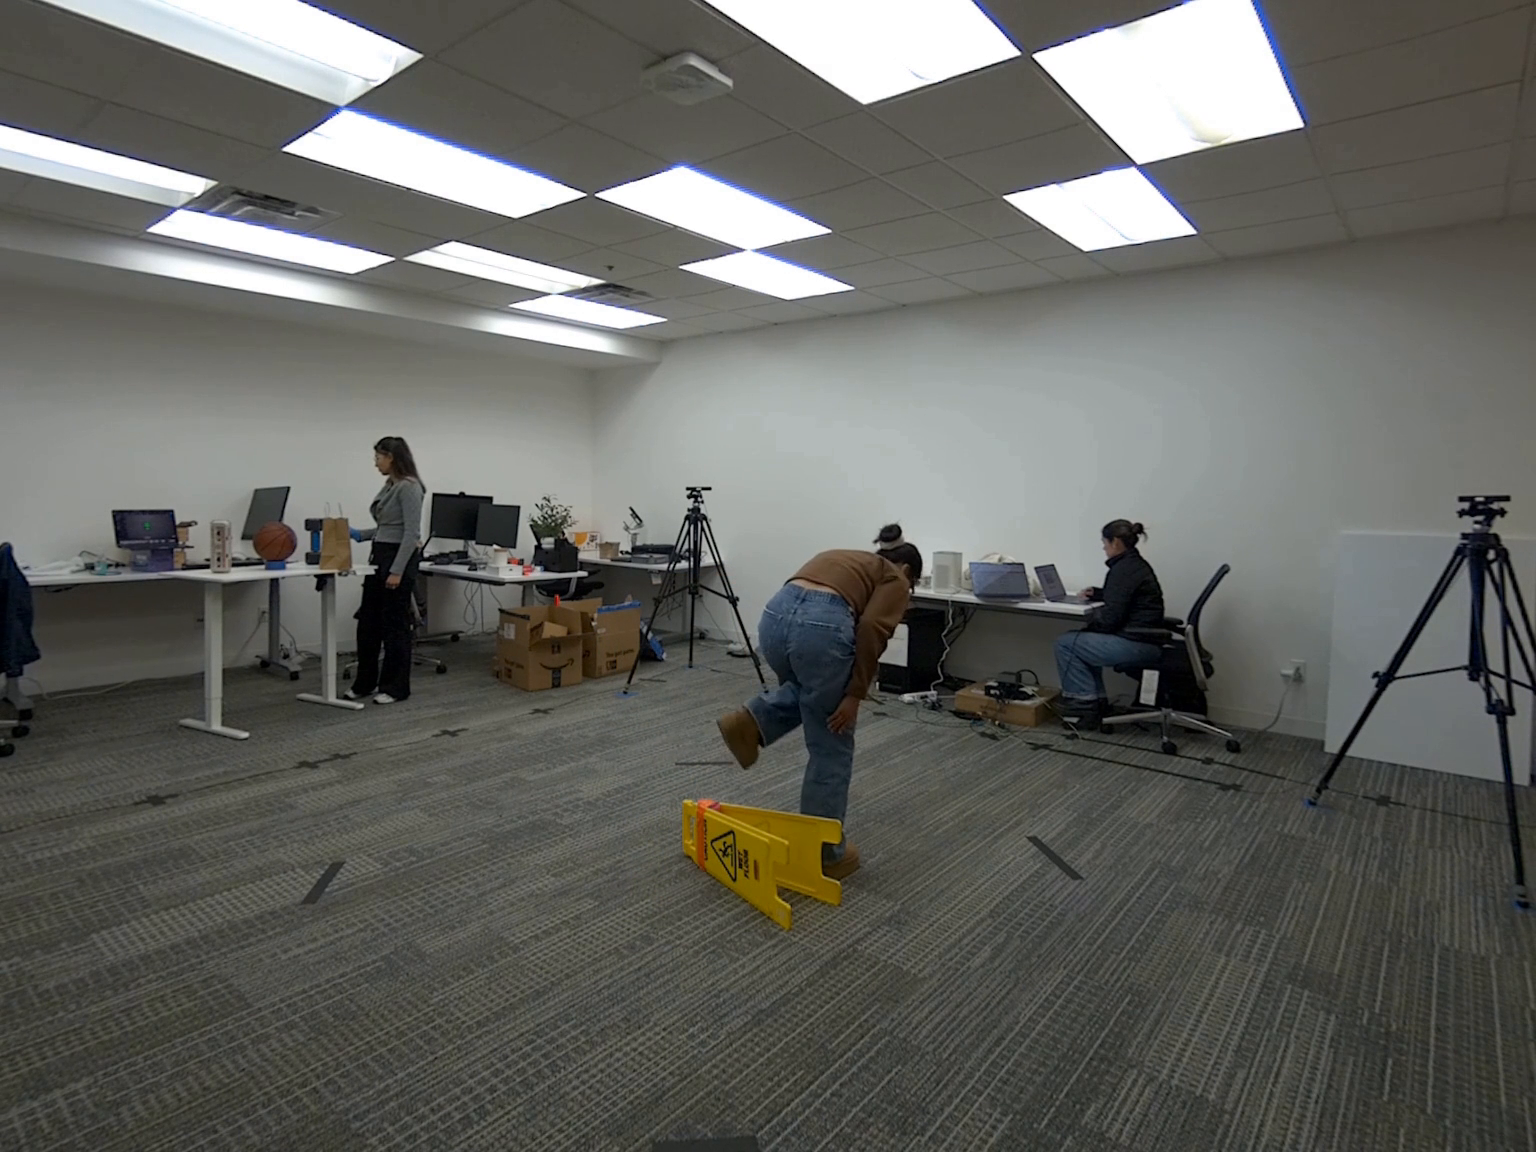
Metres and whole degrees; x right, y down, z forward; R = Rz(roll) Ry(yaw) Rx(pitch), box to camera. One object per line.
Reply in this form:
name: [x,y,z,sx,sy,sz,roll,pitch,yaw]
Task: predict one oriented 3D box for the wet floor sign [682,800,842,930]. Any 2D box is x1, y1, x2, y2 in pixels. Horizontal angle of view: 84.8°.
wet floor sign: [-0.091,0.952,2.990,0.667,0.282,0.281,3,4,44]
